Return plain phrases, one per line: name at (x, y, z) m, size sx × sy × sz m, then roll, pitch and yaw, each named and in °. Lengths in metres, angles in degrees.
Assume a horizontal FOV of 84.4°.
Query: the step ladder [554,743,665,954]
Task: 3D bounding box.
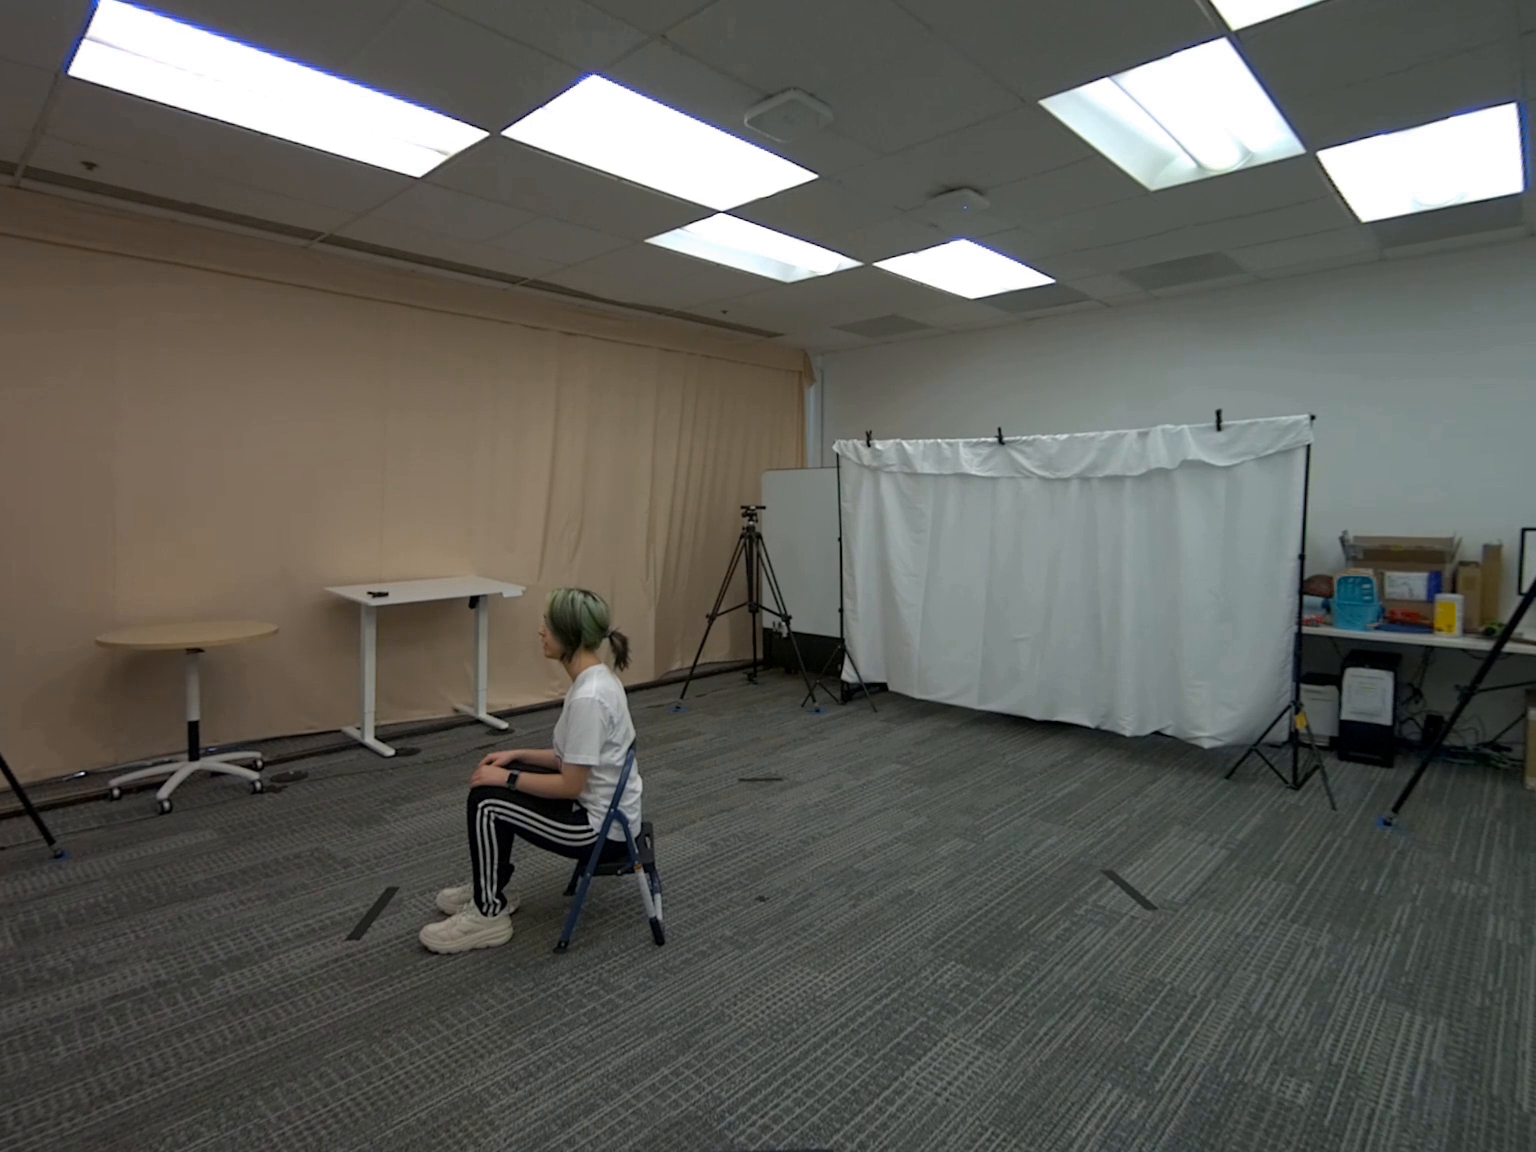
step ladder at (-0.529, 0.865, 2.833) m, size 0.346 × 0.605 × 0.435 m, roll -2°, pitch 3°, yaw -8°
